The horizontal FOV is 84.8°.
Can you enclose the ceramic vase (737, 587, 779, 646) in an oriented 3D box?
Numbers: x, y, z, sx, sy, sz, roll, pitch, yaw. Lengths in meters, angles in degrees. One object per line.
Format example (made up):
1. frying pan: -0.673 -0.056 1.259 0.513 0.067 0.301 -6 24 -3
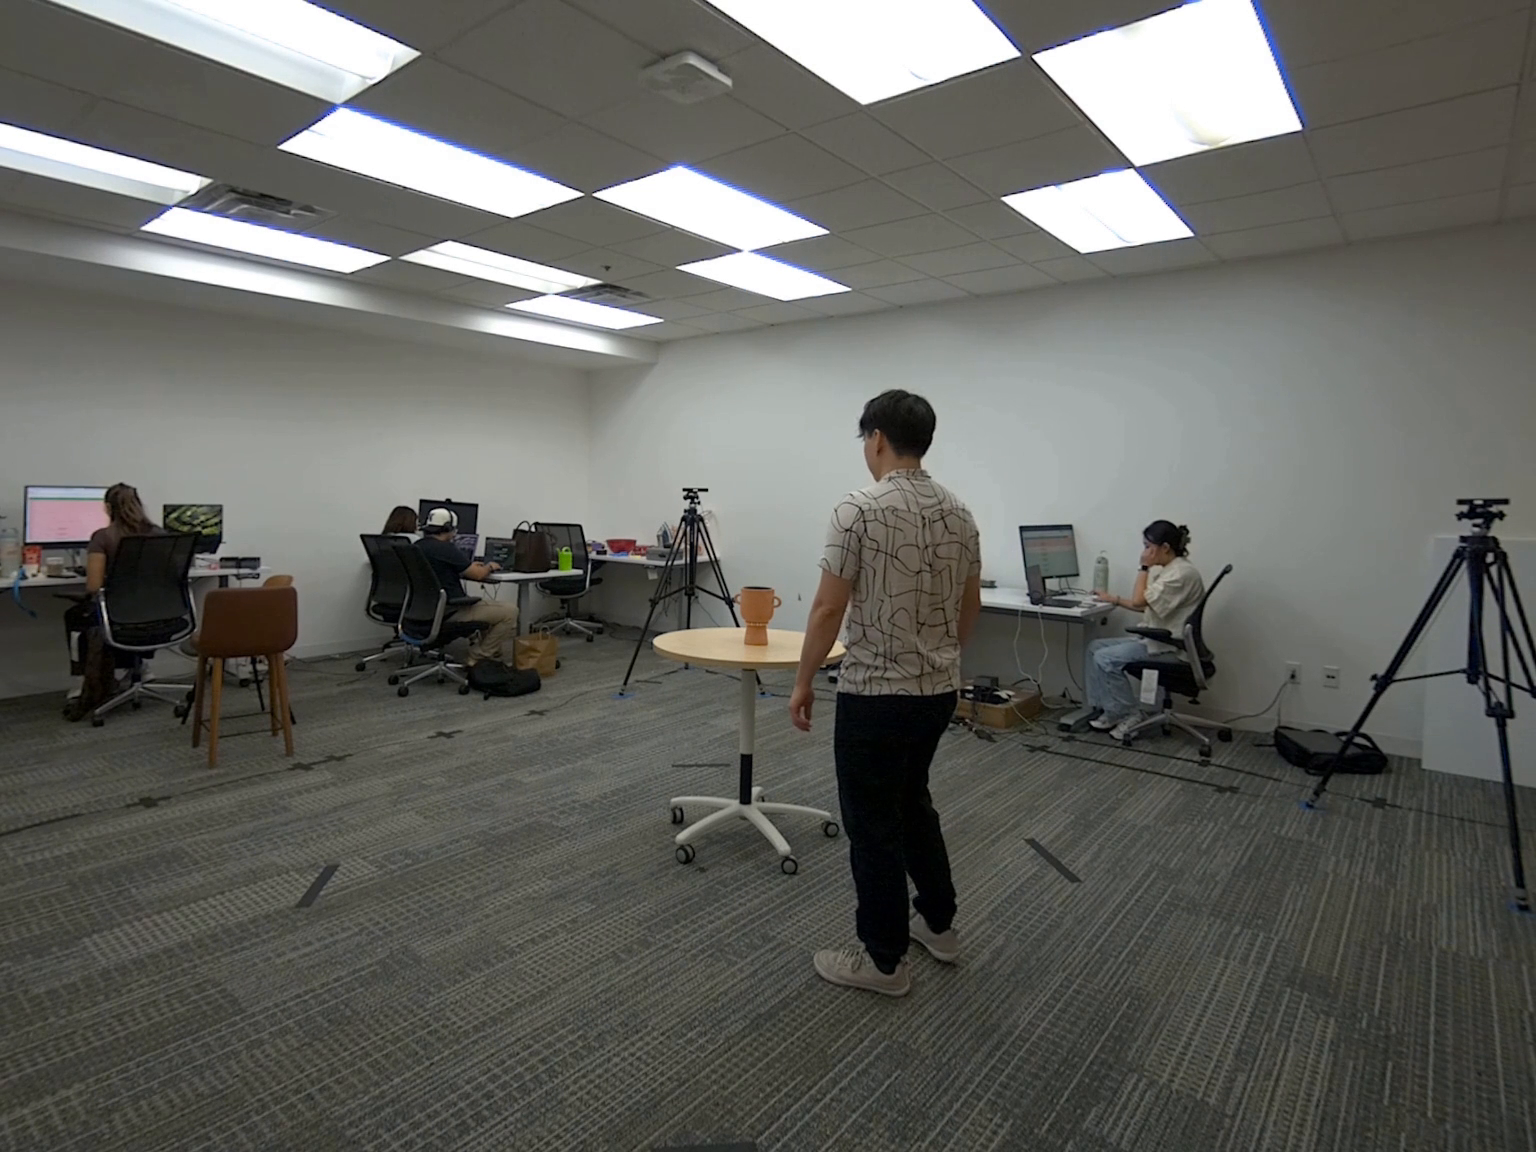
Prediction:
1. ceramic vase: -0.051 0.155 3.363 0.131 0.219 0.163 1 4 -29
